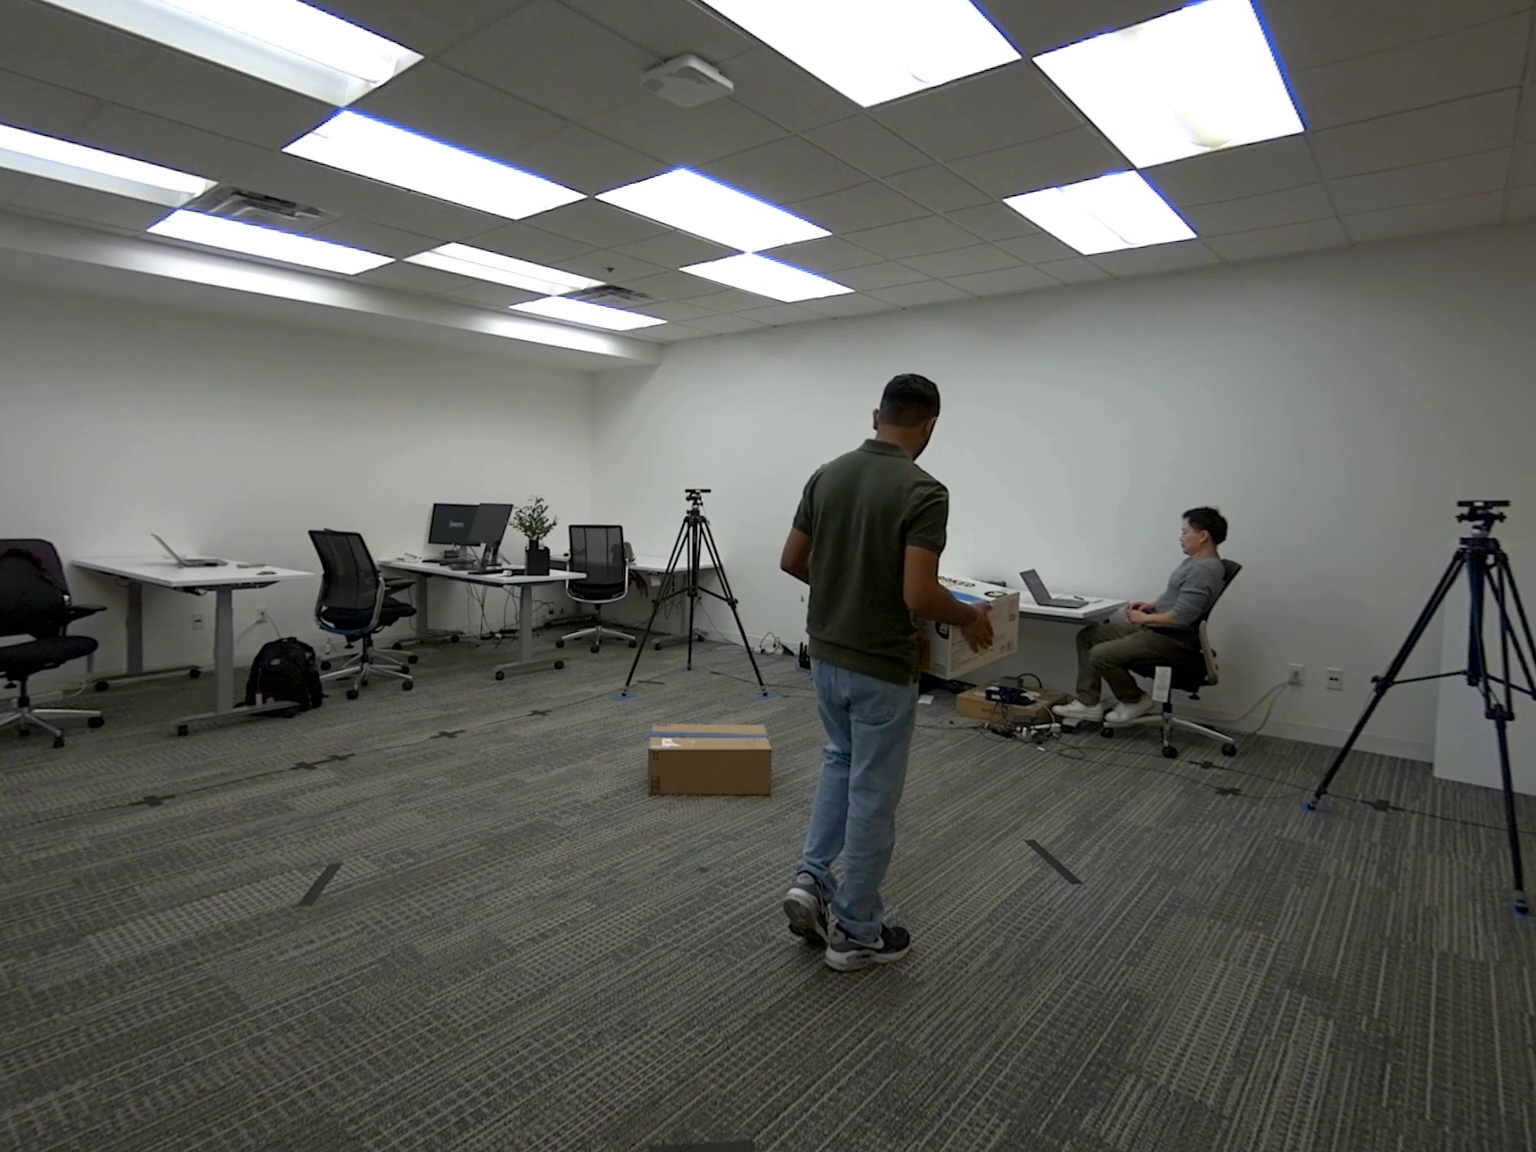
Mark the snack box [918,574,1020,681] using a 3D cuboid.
[{"bbox_3d":[0.497,0.133,2.668,0.332,0.203,0.421,-13,19,-37],"label":"snack box"}]
